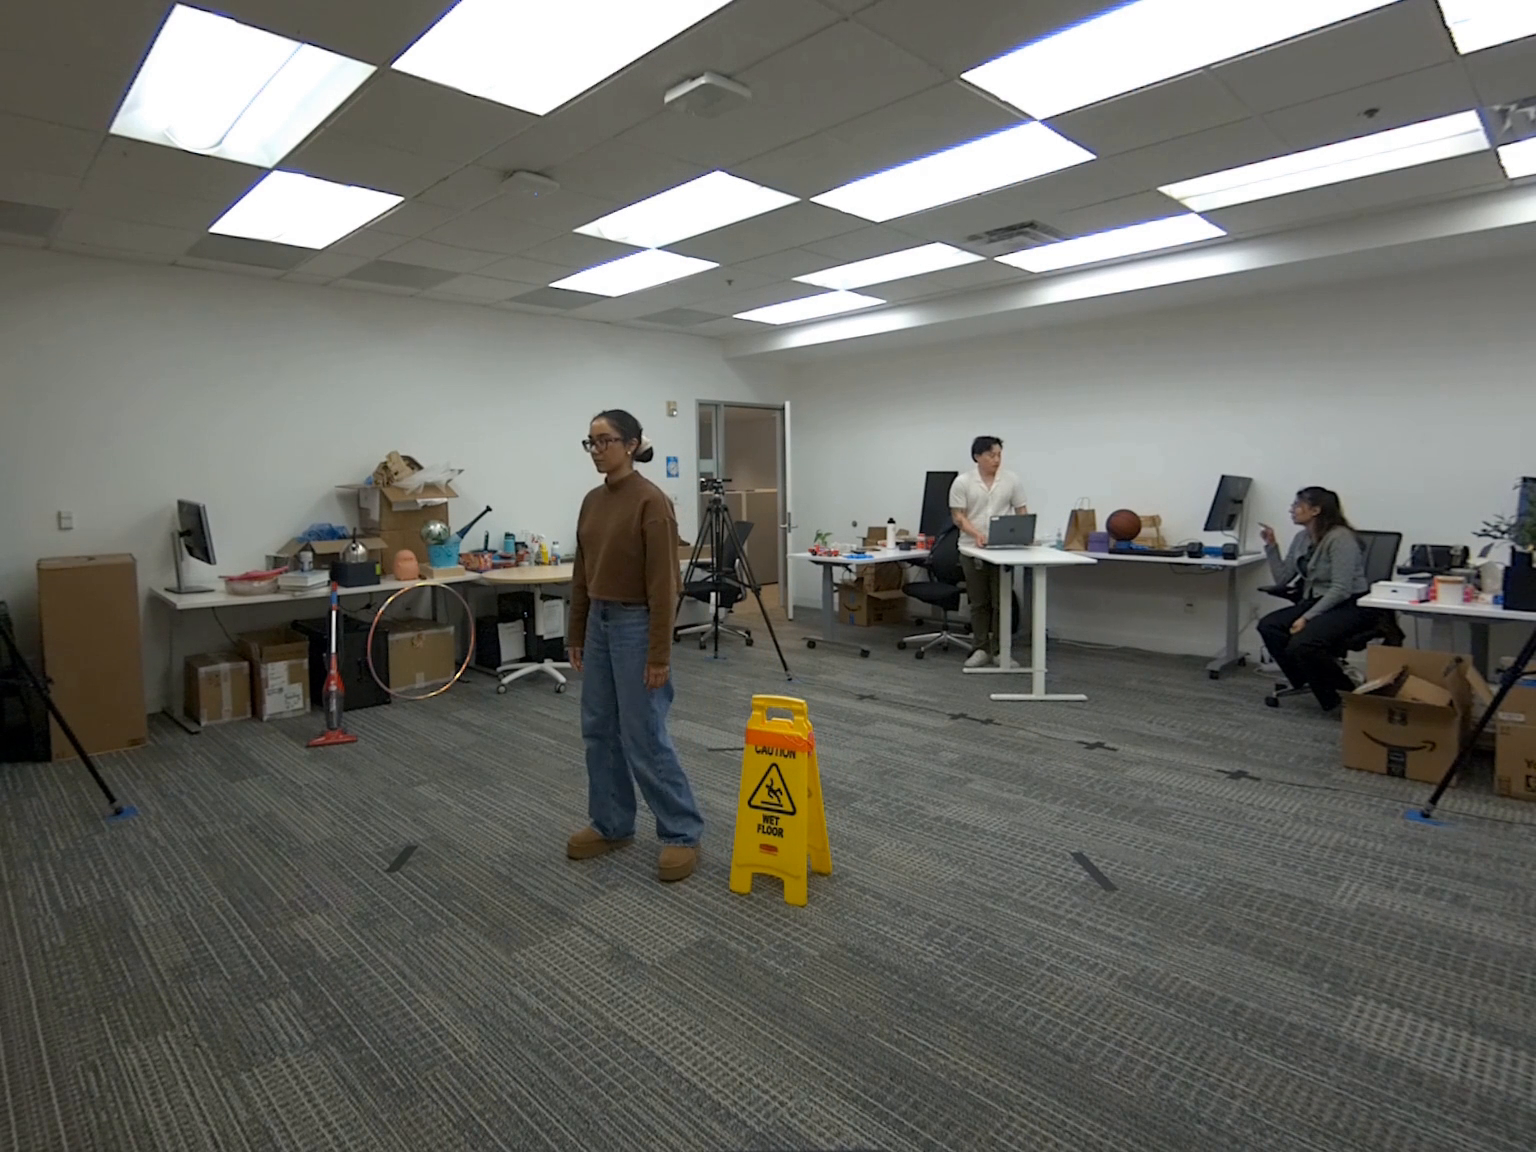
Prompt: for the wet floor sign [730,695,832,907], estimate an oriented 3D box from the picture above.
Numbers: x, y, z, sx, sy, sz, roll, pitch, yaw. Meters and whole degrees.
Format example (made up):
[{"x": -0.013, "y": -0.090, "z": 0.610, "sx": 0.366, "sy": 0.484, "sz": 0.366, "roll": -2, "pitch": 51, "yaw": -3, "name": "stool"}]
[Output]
[{"x": 0.046, "y": 0.738, "z": 2.937, "sx": 0.289, "sy": 0.644, "sz": 0.284, "roll": 0, "pitch": 4, "yaw": 25, "name": "wet floor sign"}]
